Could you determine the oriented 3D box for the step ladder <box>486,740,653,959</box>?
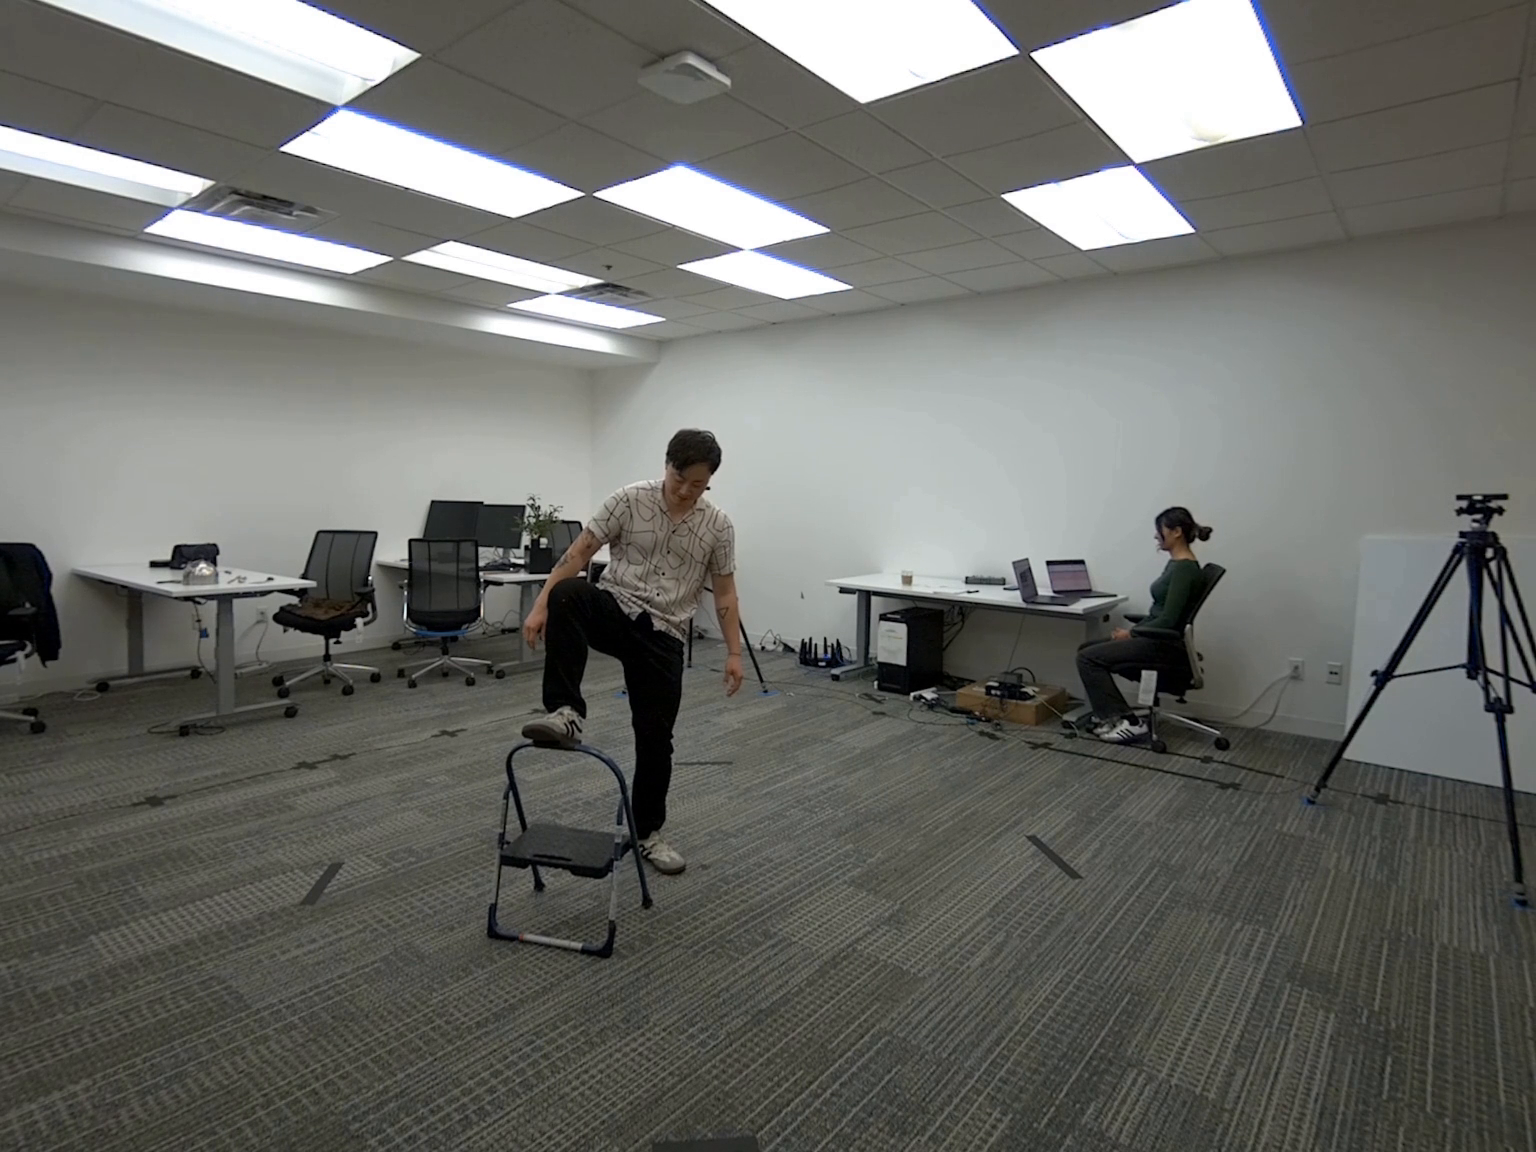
[{"bbox_3d":[-0.639,0.793,2.690,0.437,0.603,0.345,1,5,14],"label":"step ladder"}]
